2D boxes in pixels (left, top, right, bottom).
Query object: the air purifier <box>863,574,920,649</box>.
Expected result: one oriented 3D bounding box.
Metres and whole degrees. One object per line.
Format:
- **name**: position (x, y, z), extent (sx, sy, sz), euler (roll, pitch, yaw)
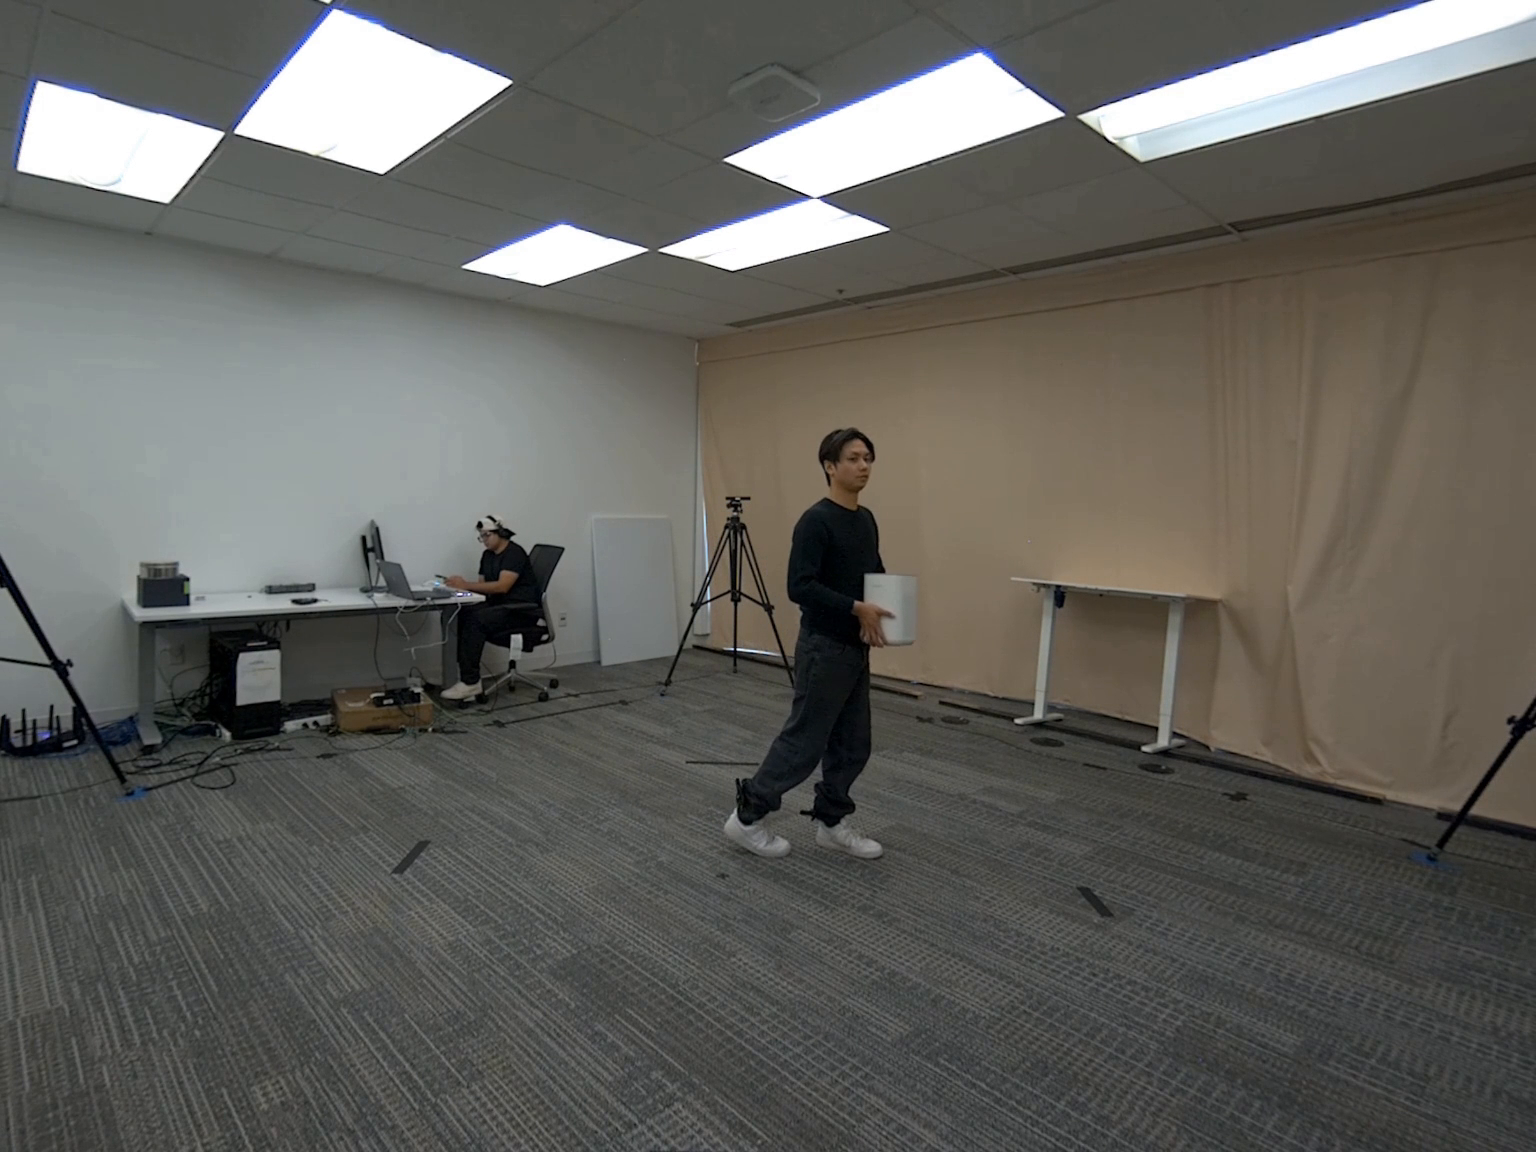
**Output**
- **air purifier**: position (0.441, 0.126, 3.154), extent (0.175, 0.266, 0.167), euler (-1, -3, 43)
